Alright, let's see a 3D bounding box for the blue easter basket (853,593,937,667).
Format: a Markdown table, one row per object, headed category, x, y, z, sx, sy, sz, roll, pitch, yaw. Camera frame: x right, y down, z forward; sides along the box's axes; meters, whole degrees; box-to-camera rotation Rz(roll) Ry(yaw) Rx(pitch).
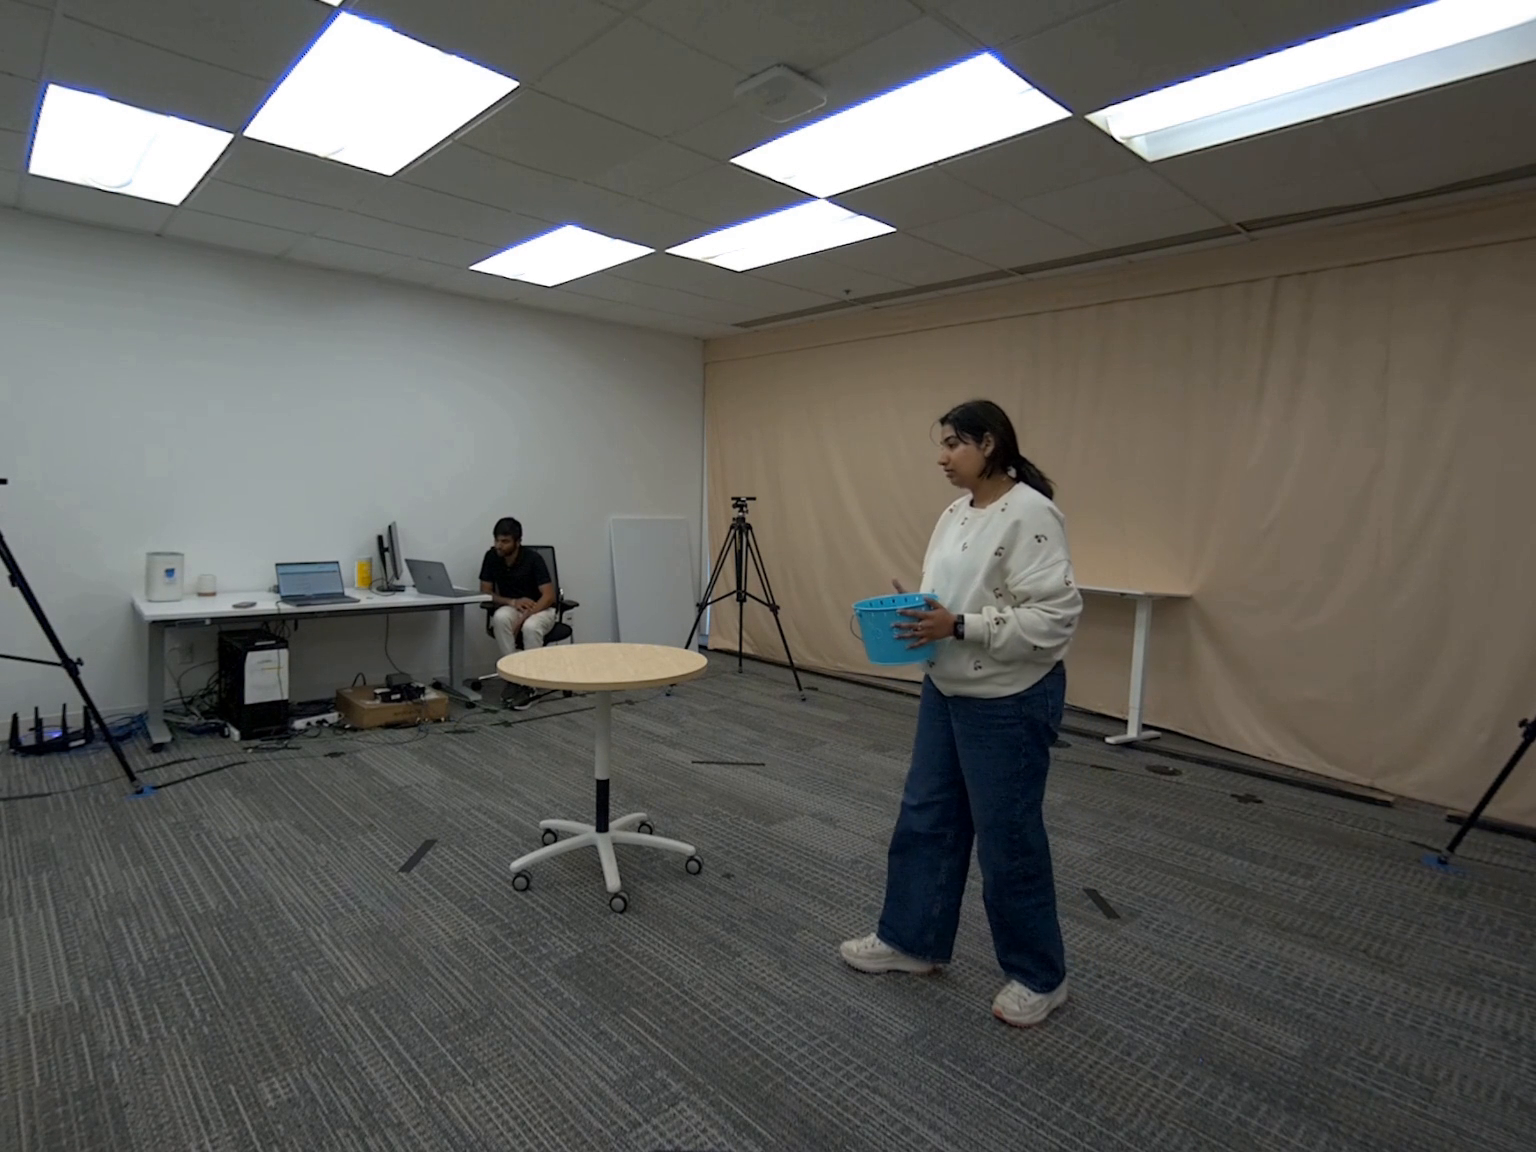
| category | x | y | z | sx | sy | sz | roll | pitch | yaw |
| --- | --- | --- | --- | --- | --- | --- | --- | --- | --- |
| blue easter basket | 0.350 | 0.141 | 2.249 | 0.243 | 0.155 | 0.245 | -5 | 6 | -1 |
